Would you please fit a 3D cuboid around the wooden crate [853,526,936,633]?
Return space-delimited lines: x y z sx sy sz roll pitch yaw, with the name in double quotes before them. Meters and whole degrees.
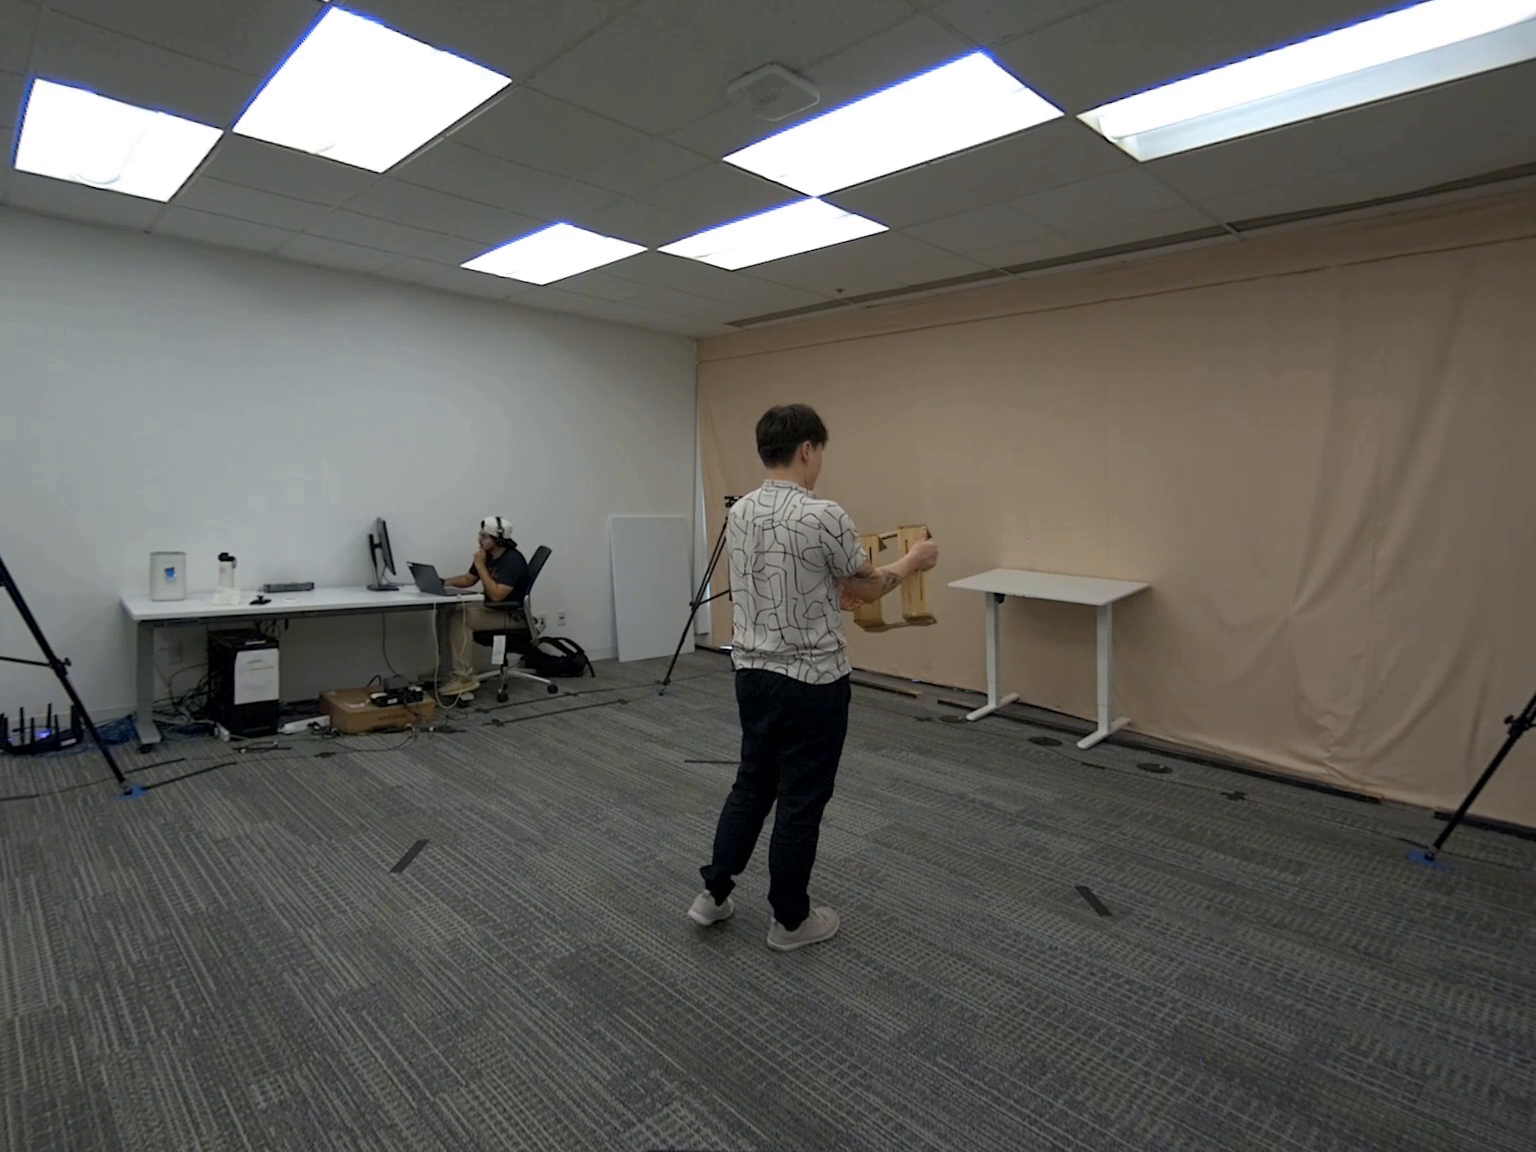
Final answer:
"wooden crate" 0.441 0.019 2.864 0.277 0.328 0.294 -6 -14 21
